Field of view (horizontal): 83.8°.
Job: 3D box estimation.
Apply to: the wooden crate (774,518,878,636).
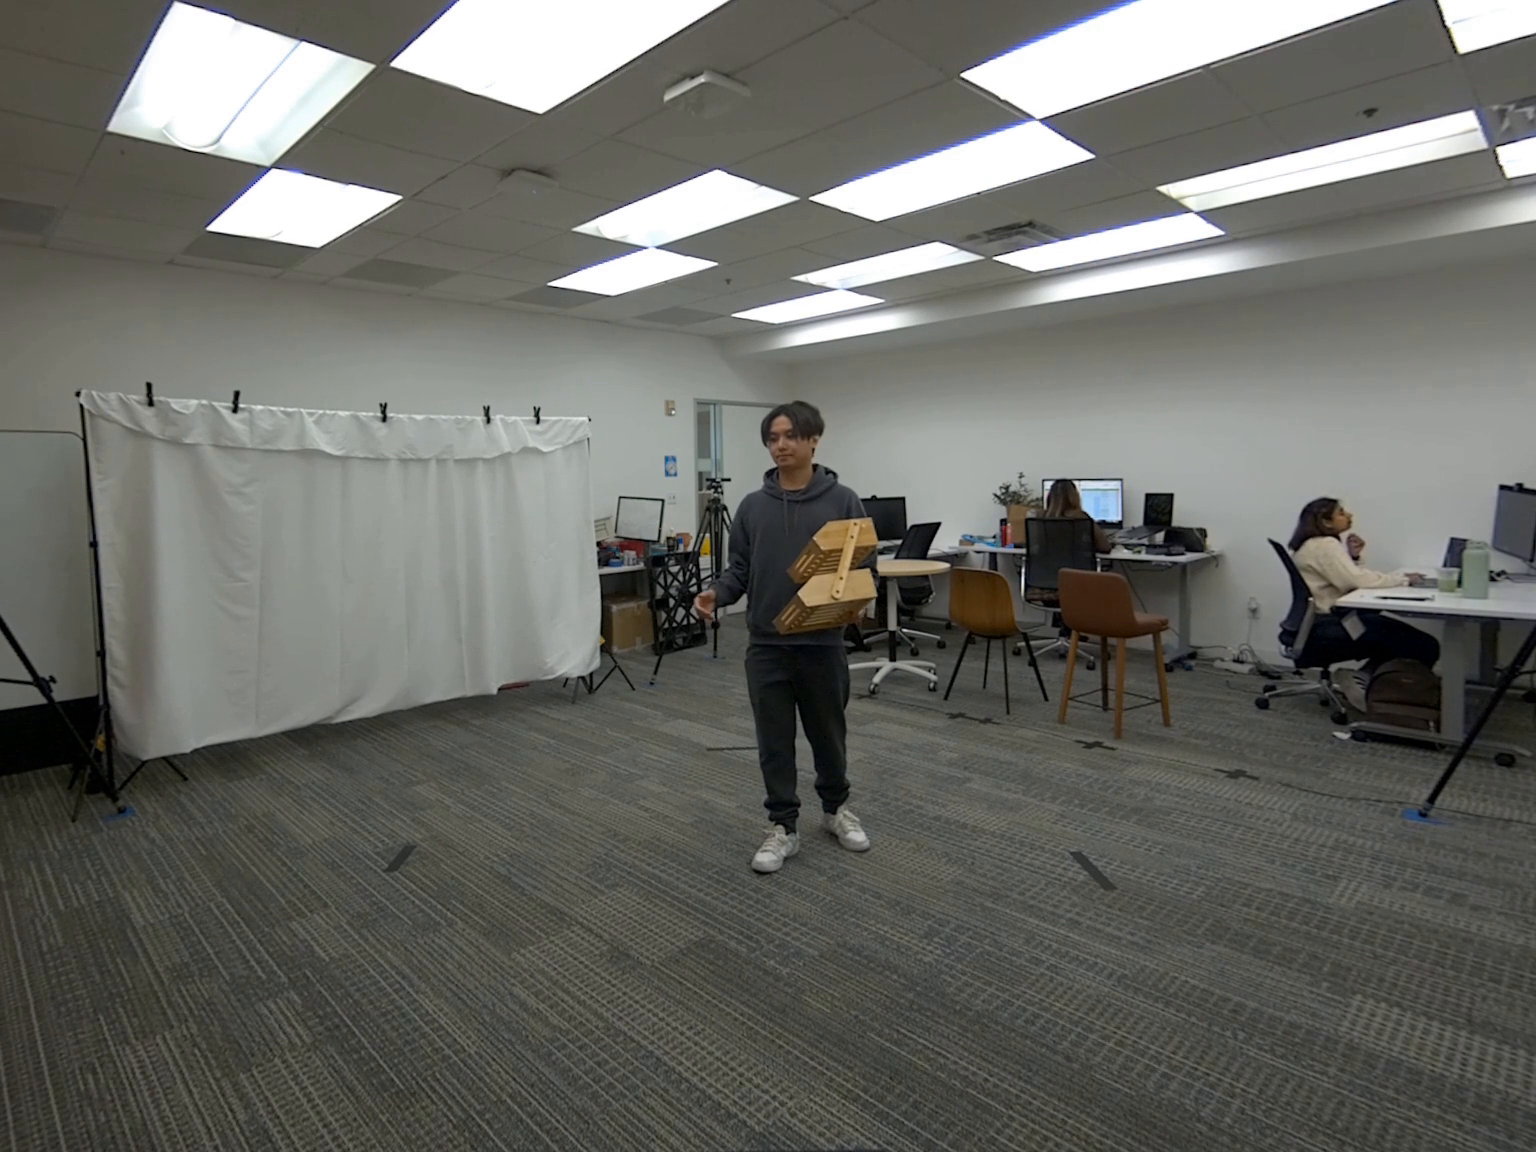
[{"bbox_3d":[0.168,0.002,2.765,0.298,0.279,0.322,-7,-20,-15],"label":"wooden crate"}]
